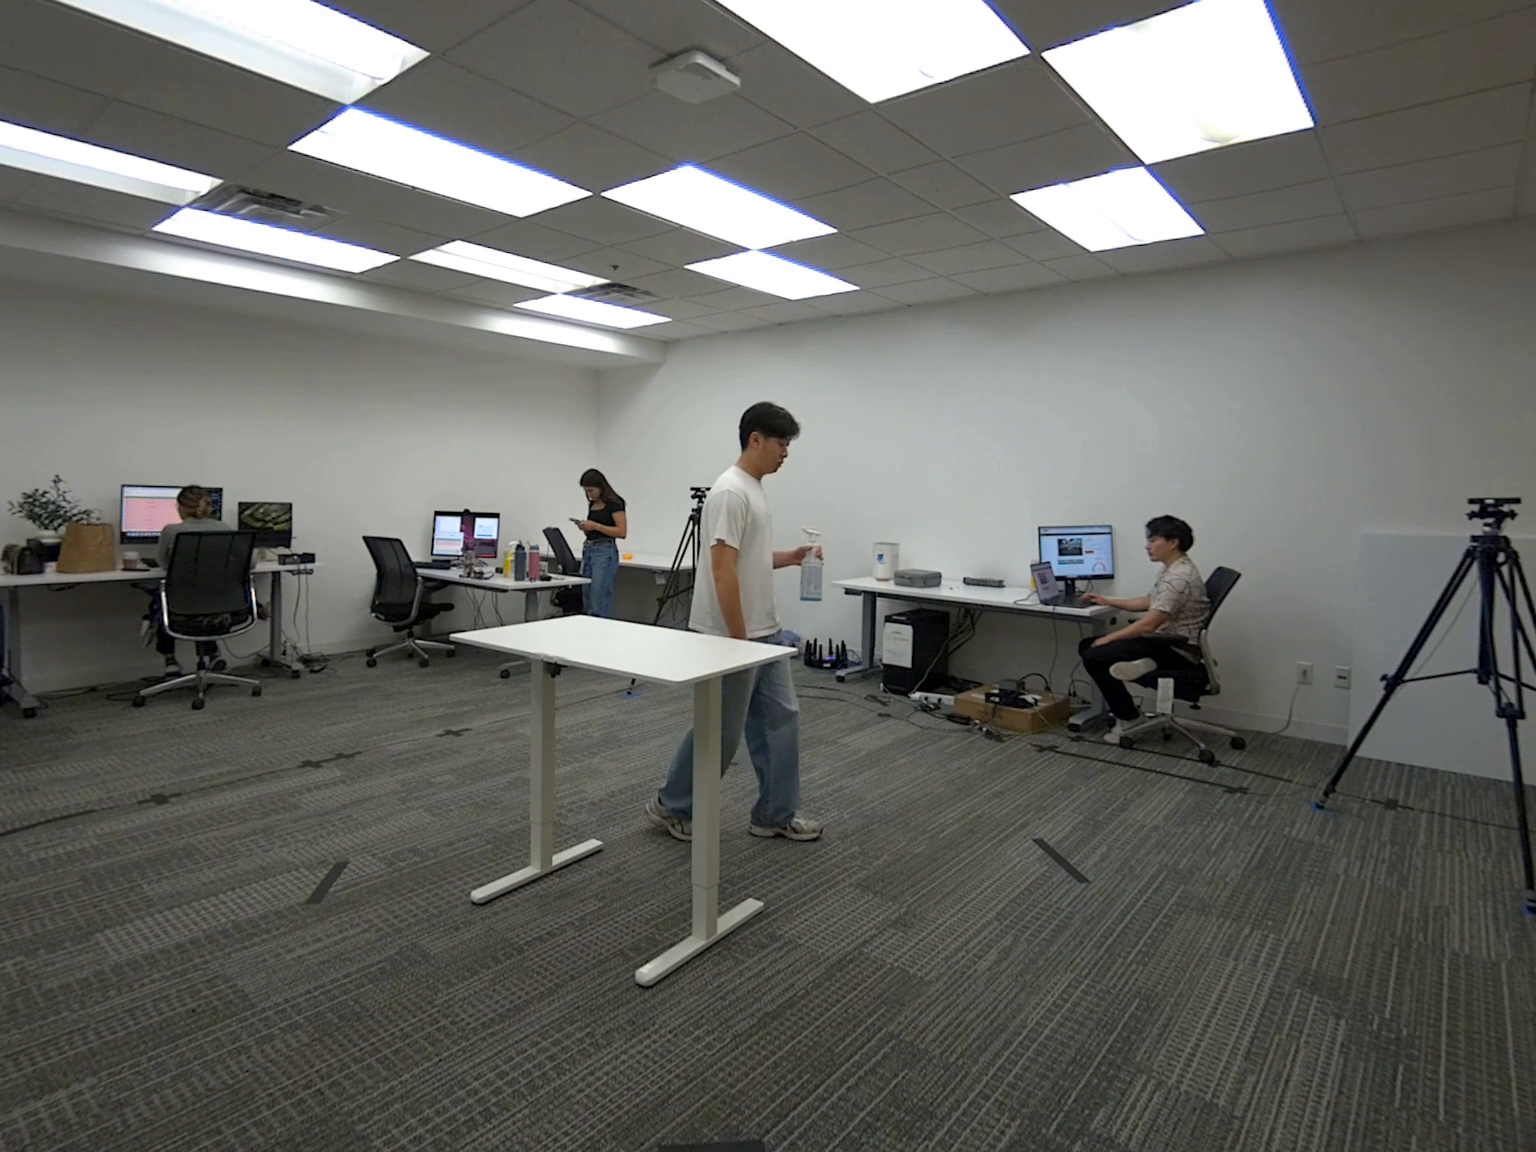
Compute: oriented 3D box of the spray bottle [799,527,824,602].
[{"bbox_3d":[0.162,-0.053,3.397,0.090,0.298,0.087,1,-4,-4],"label":"spray bottle"}]
